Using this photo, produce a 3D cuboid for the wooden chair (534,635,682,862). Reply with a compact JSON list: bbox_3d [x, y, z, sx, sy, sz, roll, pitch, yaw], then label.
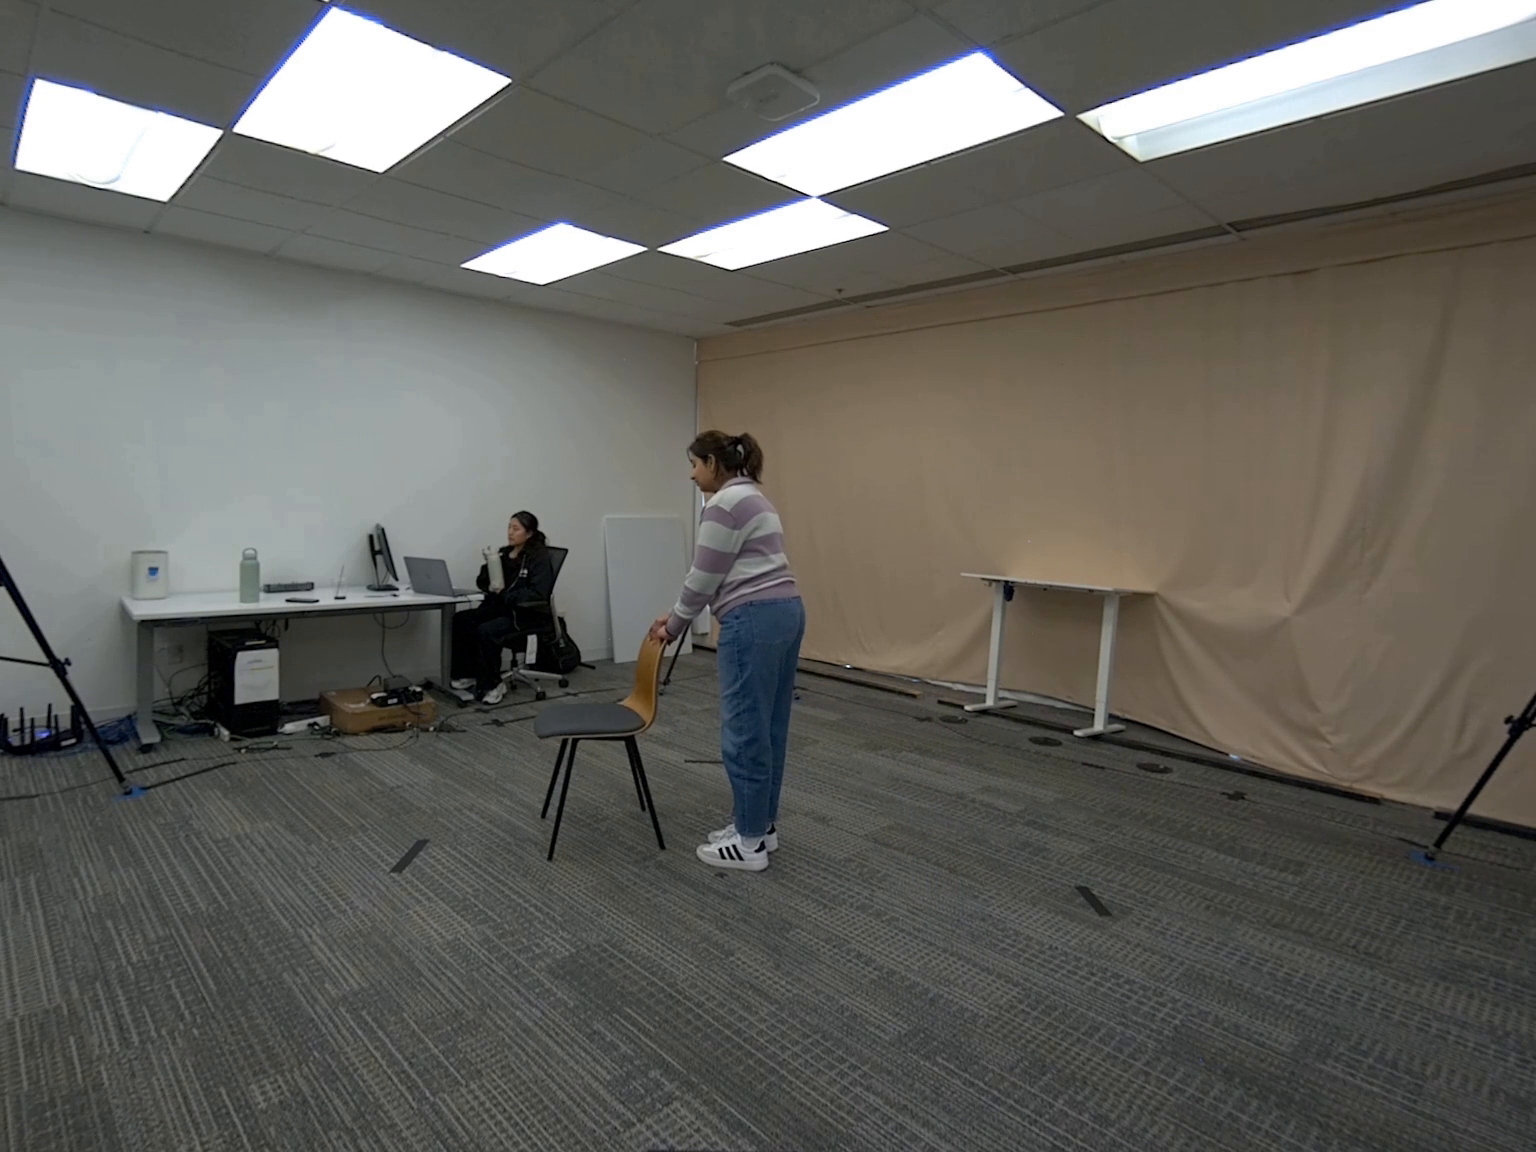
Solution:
[{"bbox_3d":[-0.687,0.625,3.421,0.516,0.876,0.486,5,3,-17],"label":"wooden chair"}]
